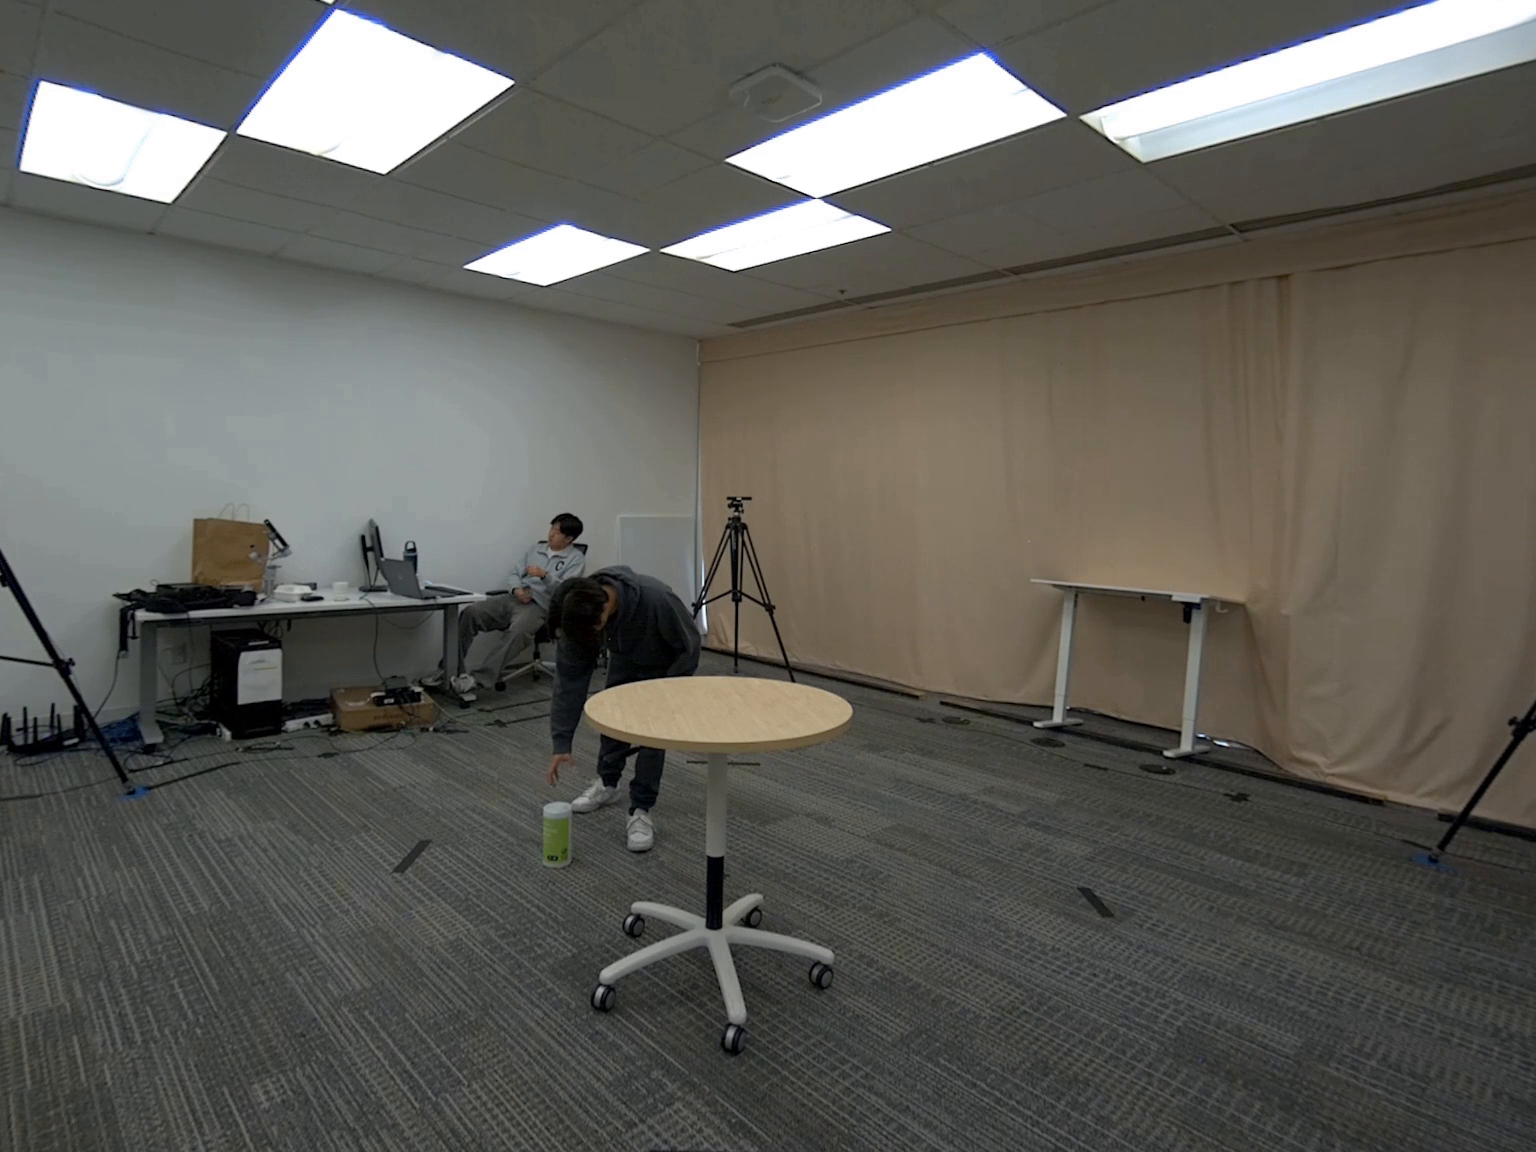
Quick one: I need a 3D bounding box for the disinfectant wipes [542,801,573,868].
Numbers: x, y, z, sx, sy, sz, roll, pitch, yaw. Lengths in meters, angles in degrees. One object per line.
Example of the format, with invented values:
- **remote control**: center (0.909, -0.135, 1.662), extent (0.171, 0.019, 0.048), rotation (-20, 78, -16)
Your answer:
- **disinfectant wipes**: center (-0.810, 0.979, 3.178), extent (0.118, 0.217, 0.118), rotation (1, 4, -1)
